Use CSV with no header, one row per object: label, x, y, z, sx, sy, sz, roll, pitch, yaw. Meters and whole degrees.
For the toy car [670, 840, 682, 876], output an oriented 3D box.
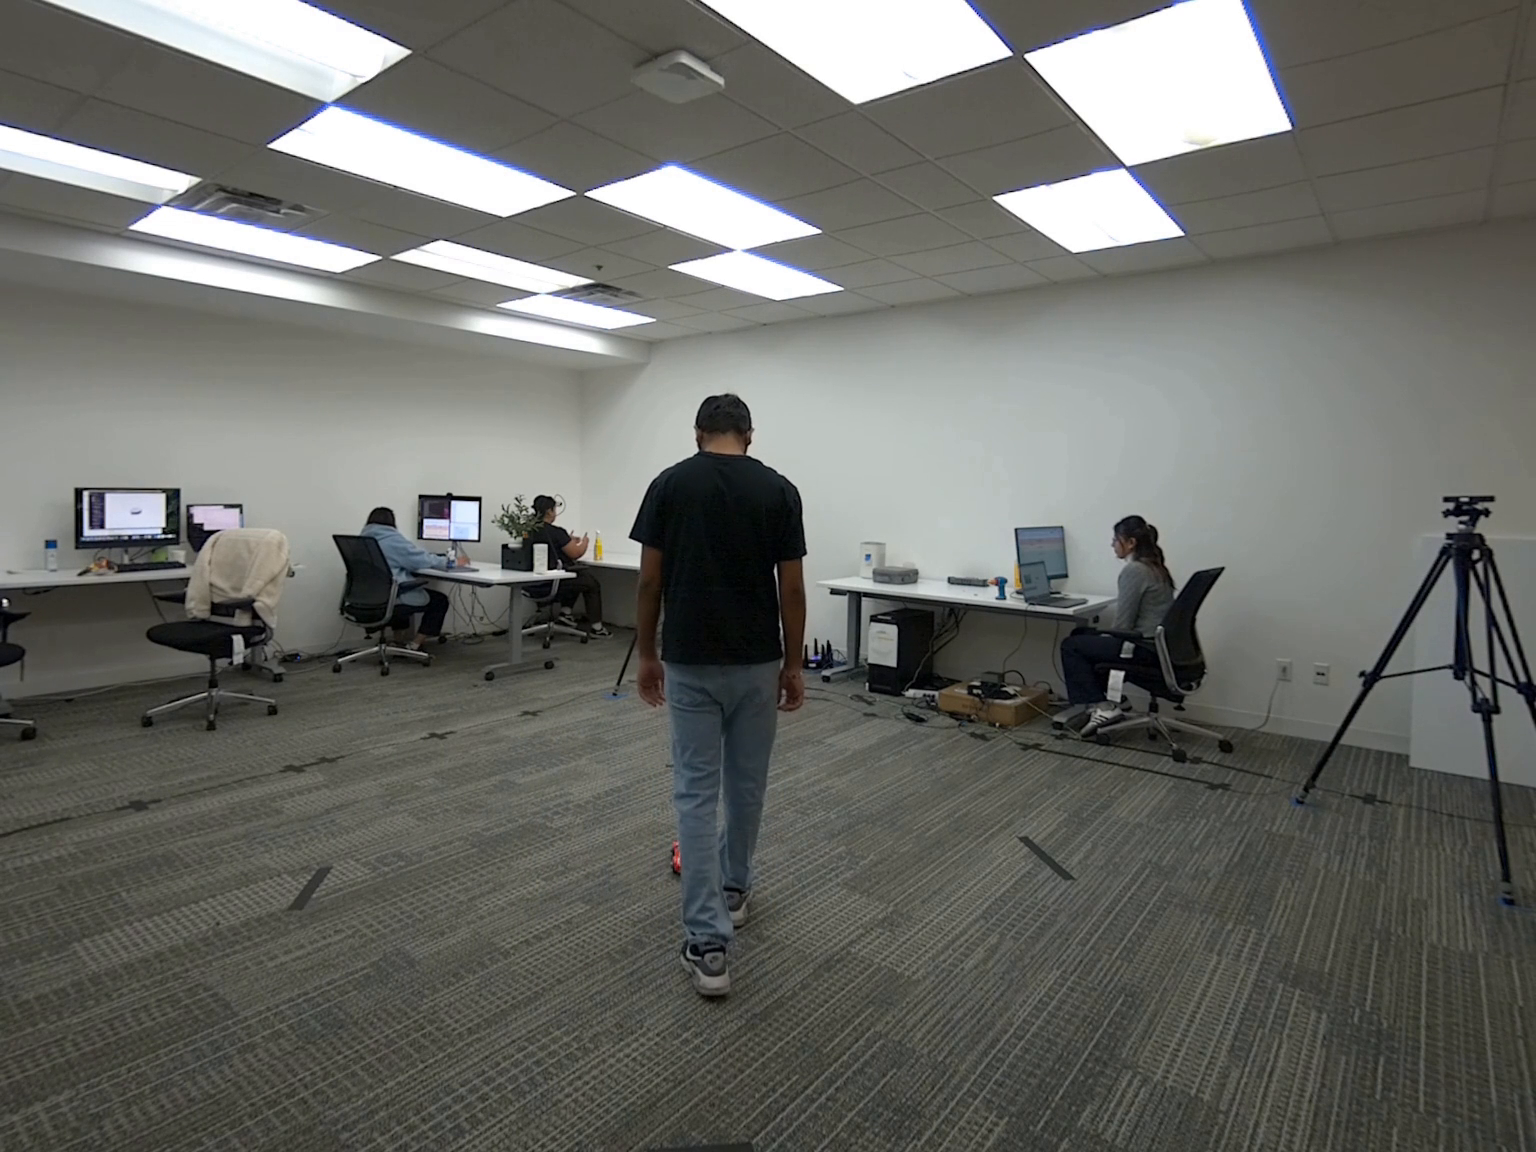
toy car,-0.297,1.028,3.127,0.130,0.084,0.253,1,-6,-5
